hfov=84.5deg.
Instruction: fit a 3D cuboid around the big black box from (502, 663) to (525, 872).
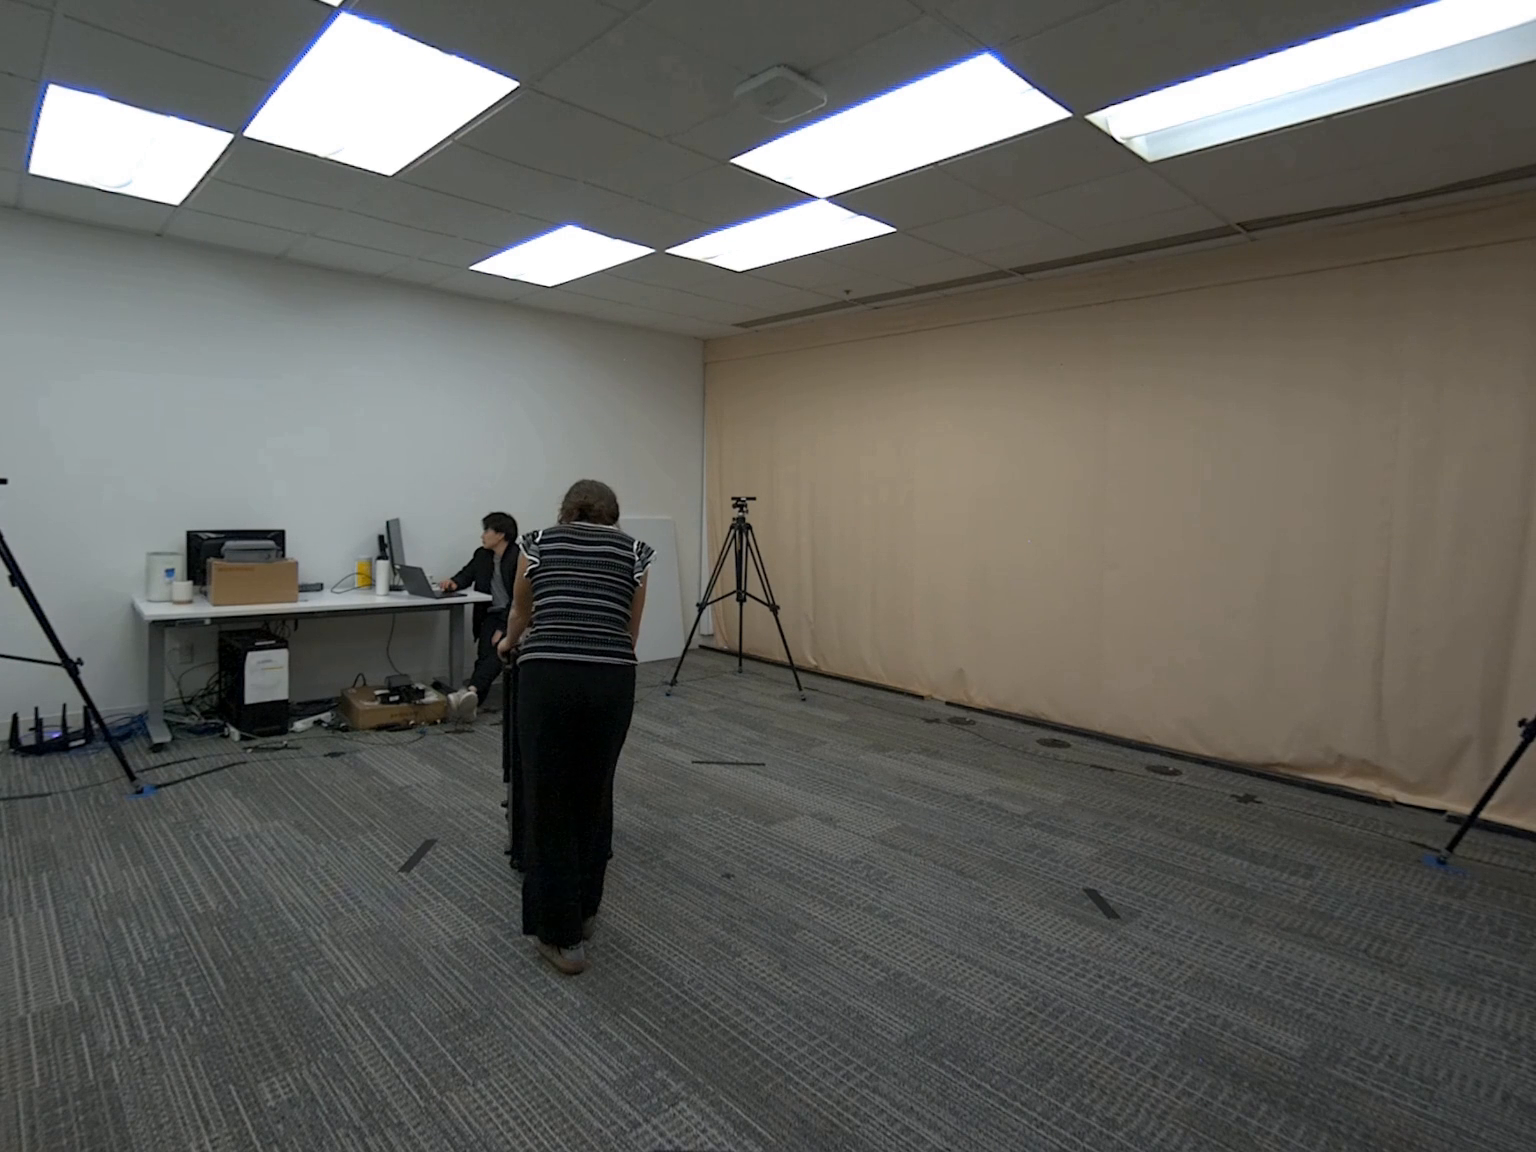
[{"bbox_3d":[-0.821,0.660,3.212,0.391,0.859,0.530,-1,4,-19],"label":"big black box"}]
